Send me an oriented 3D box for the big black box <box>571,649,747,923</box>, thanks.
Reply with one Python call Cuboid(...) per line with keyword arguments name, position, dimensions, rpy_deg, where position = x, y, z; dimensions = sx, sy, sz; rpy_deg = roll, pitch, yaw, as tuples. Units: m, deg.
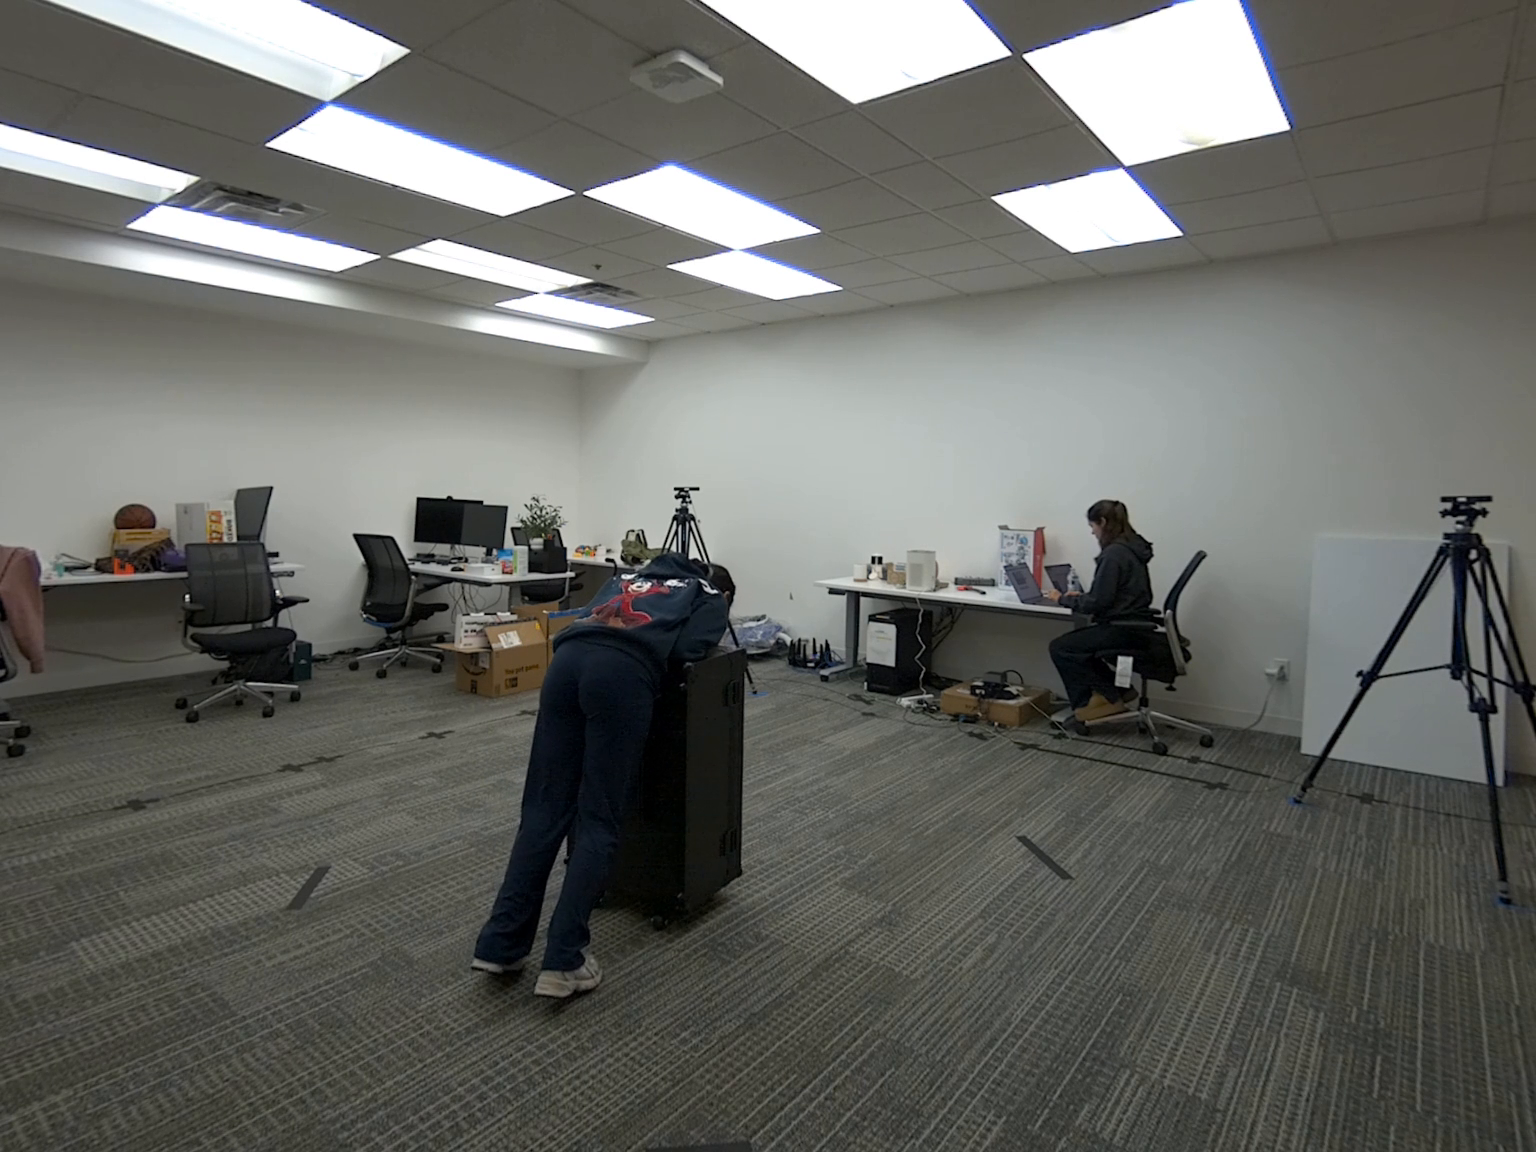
Cuboid(name="big black box", position=(-0.384, 0.664, 2.855), dimensions=(0.537, 0.859, 0.386), rpy_deg=(3, 4, 30))
